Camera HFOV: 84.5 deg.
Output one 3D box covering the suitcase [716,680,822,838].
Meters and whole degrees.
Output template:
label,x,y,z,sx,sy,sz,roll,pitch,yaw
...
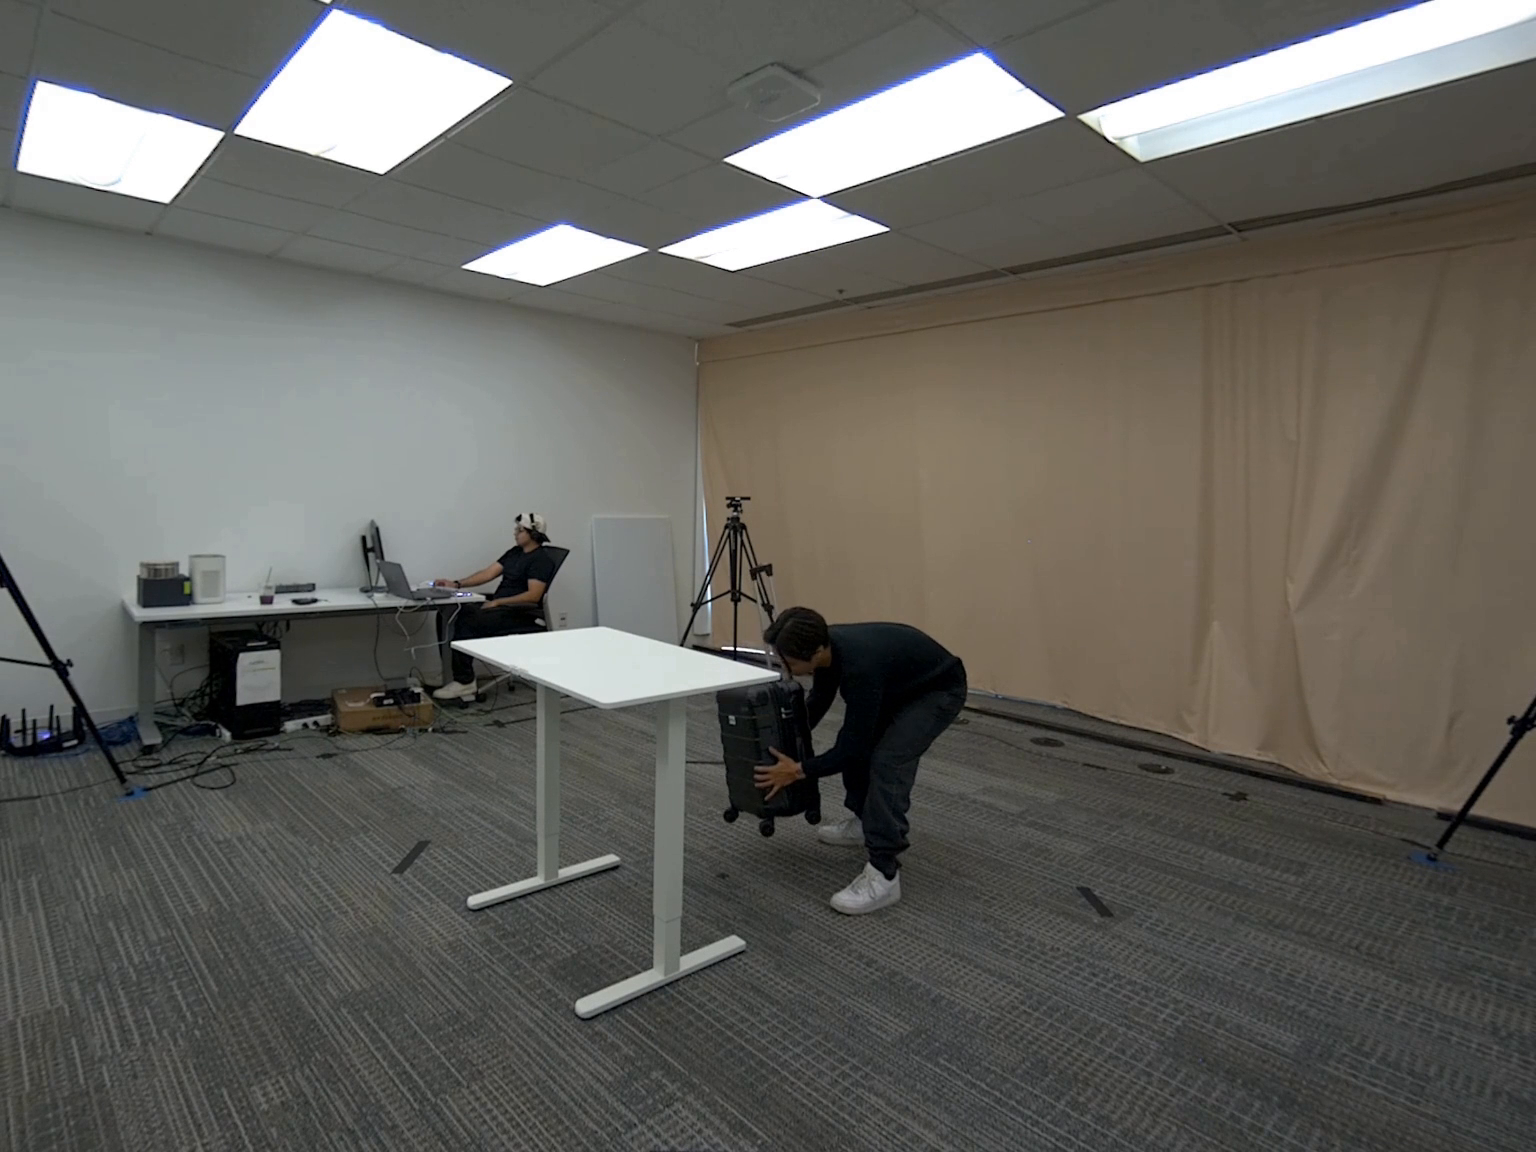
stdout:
label,x,y,z,sx,sy,sz,roll,pitch,yaw
suitcase,-0.046,0.459,3.251,0.253,0.981,0.389,-8,-3,-25
